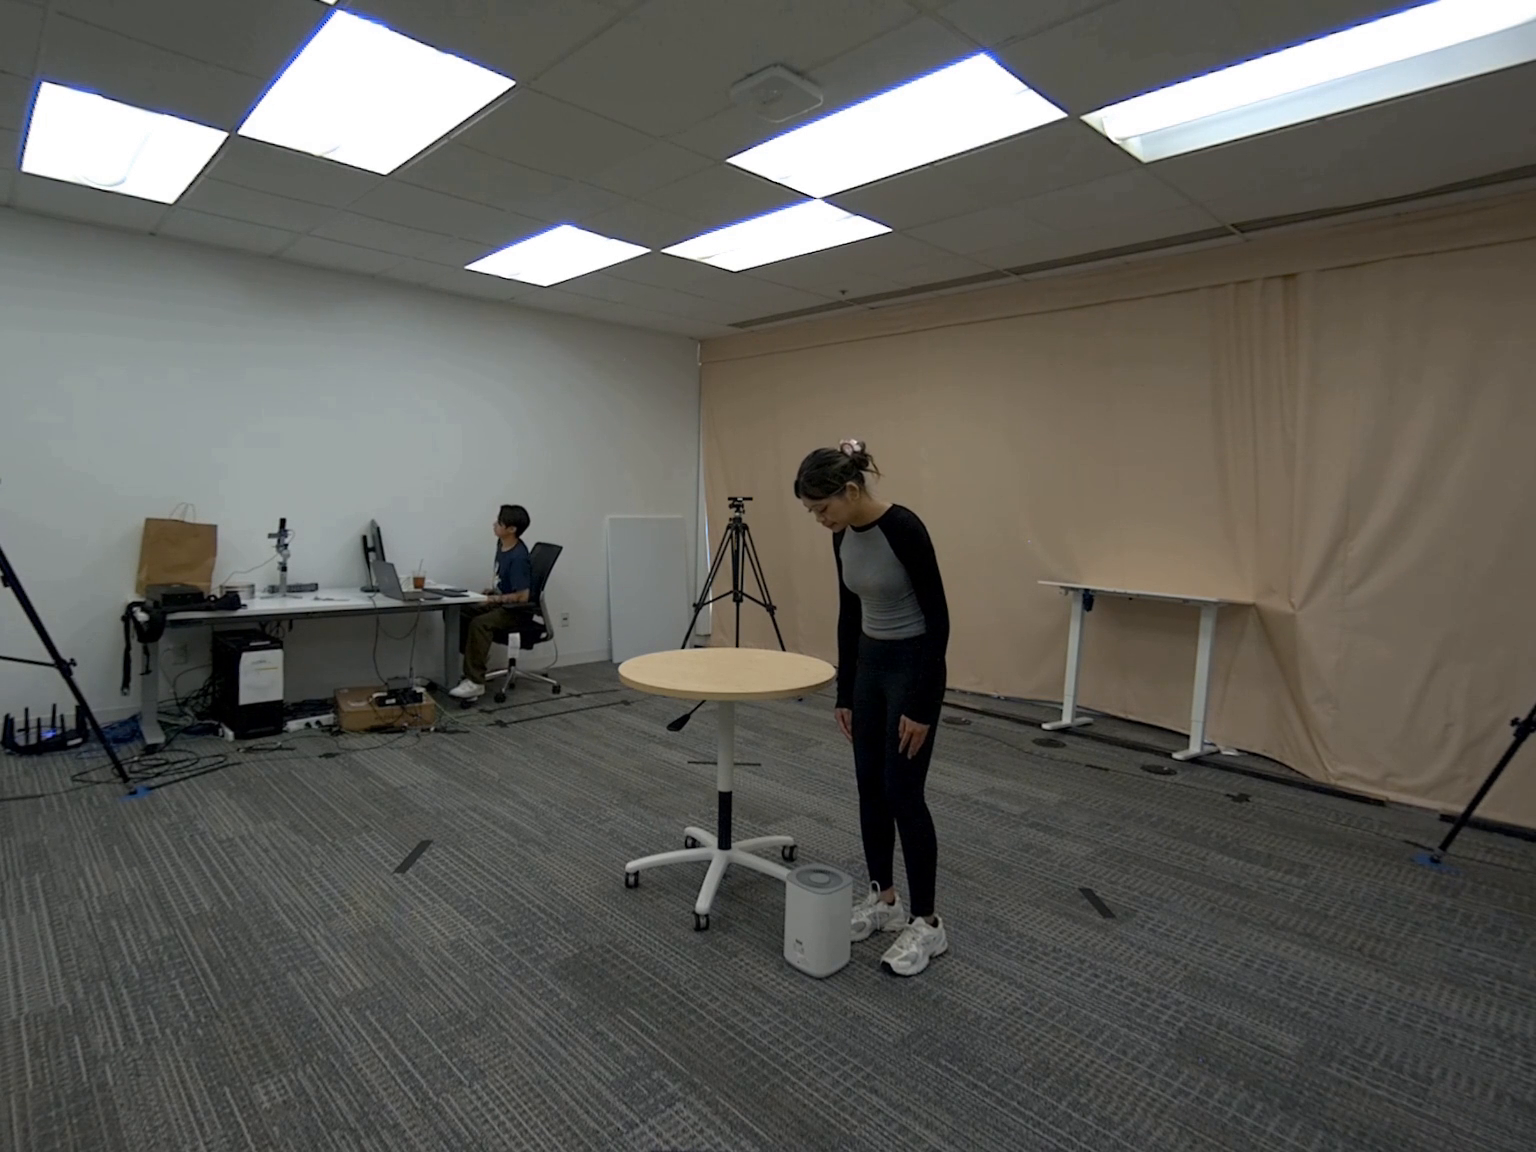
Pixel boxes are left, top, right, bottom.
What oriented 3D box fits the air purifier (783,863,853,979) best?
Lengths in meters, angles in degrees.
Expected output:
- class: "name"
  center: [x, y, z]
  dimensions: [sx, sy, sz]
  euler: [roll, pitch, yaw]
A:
- class: "air purifier"
  center: [0.145, 1.039, 2.520]
  dimensions: [0.175, 0.265, 0.168]
  euler: [4, 4, 42]
